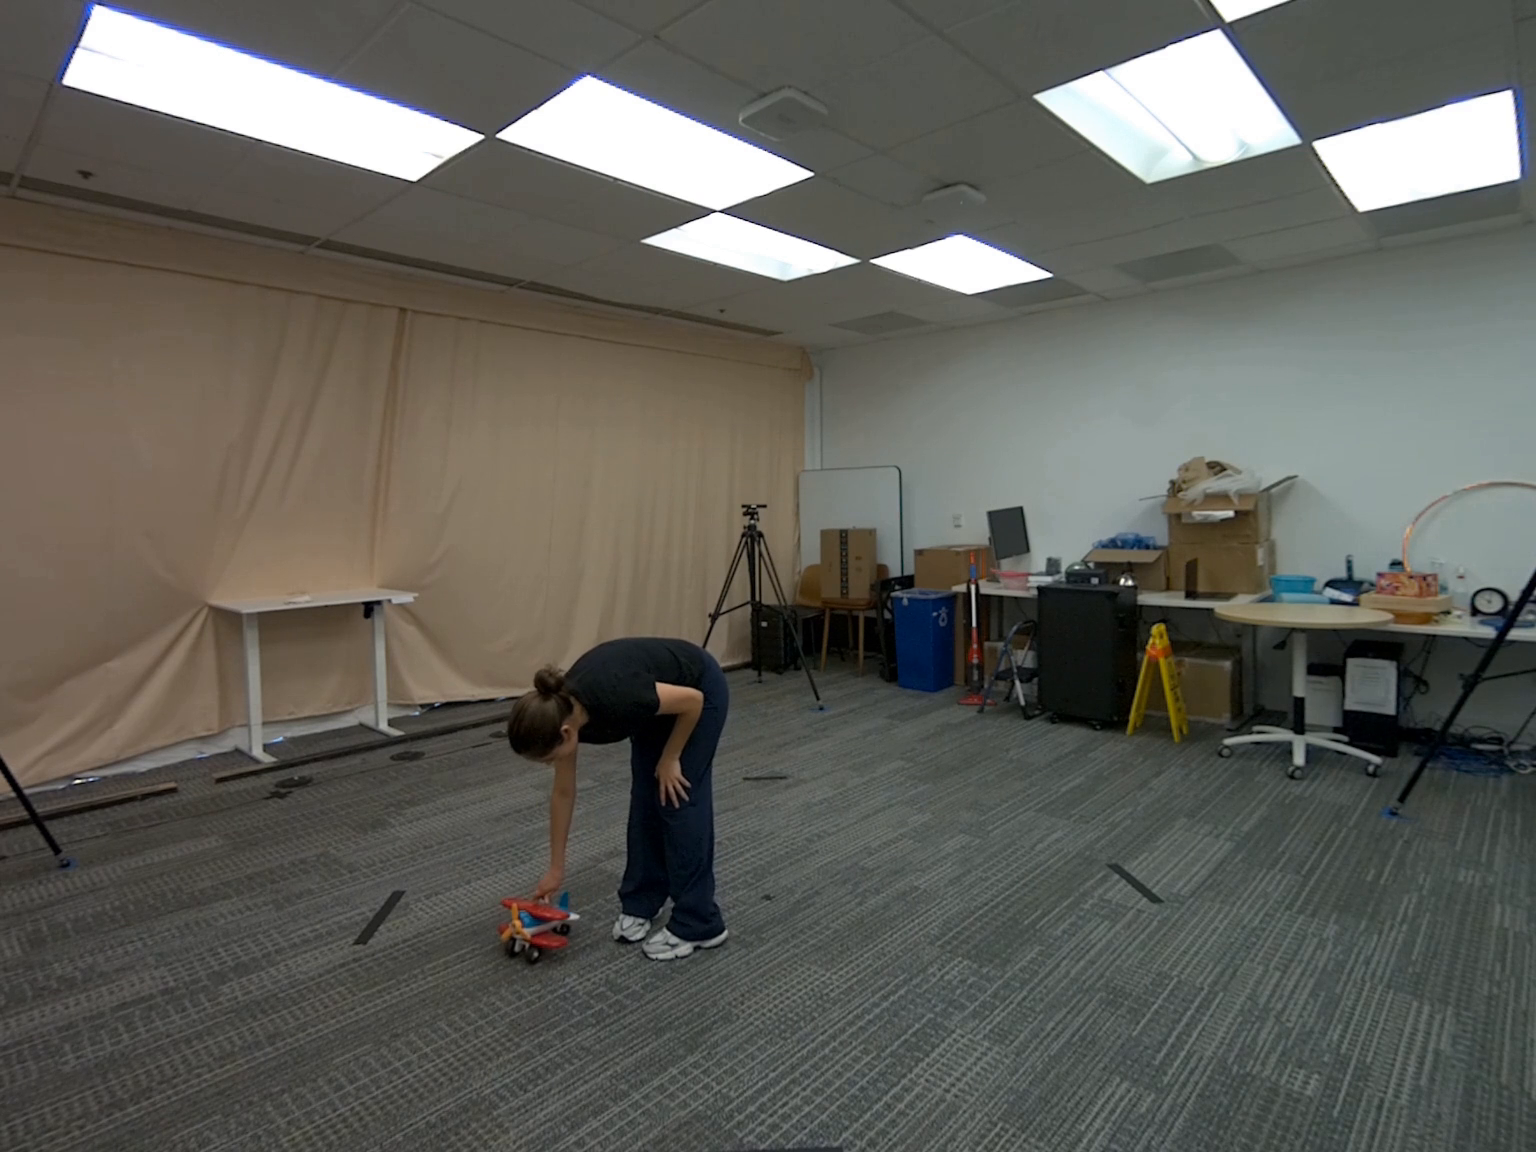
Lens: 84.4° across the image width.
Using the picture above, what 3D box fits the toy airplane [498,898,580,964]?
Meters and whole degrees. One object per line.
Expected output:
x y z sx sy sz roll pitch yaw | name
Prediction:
-0.726 1.112 2.692 0.251 0.156 0.260 -1 5 0 | toy airplane
